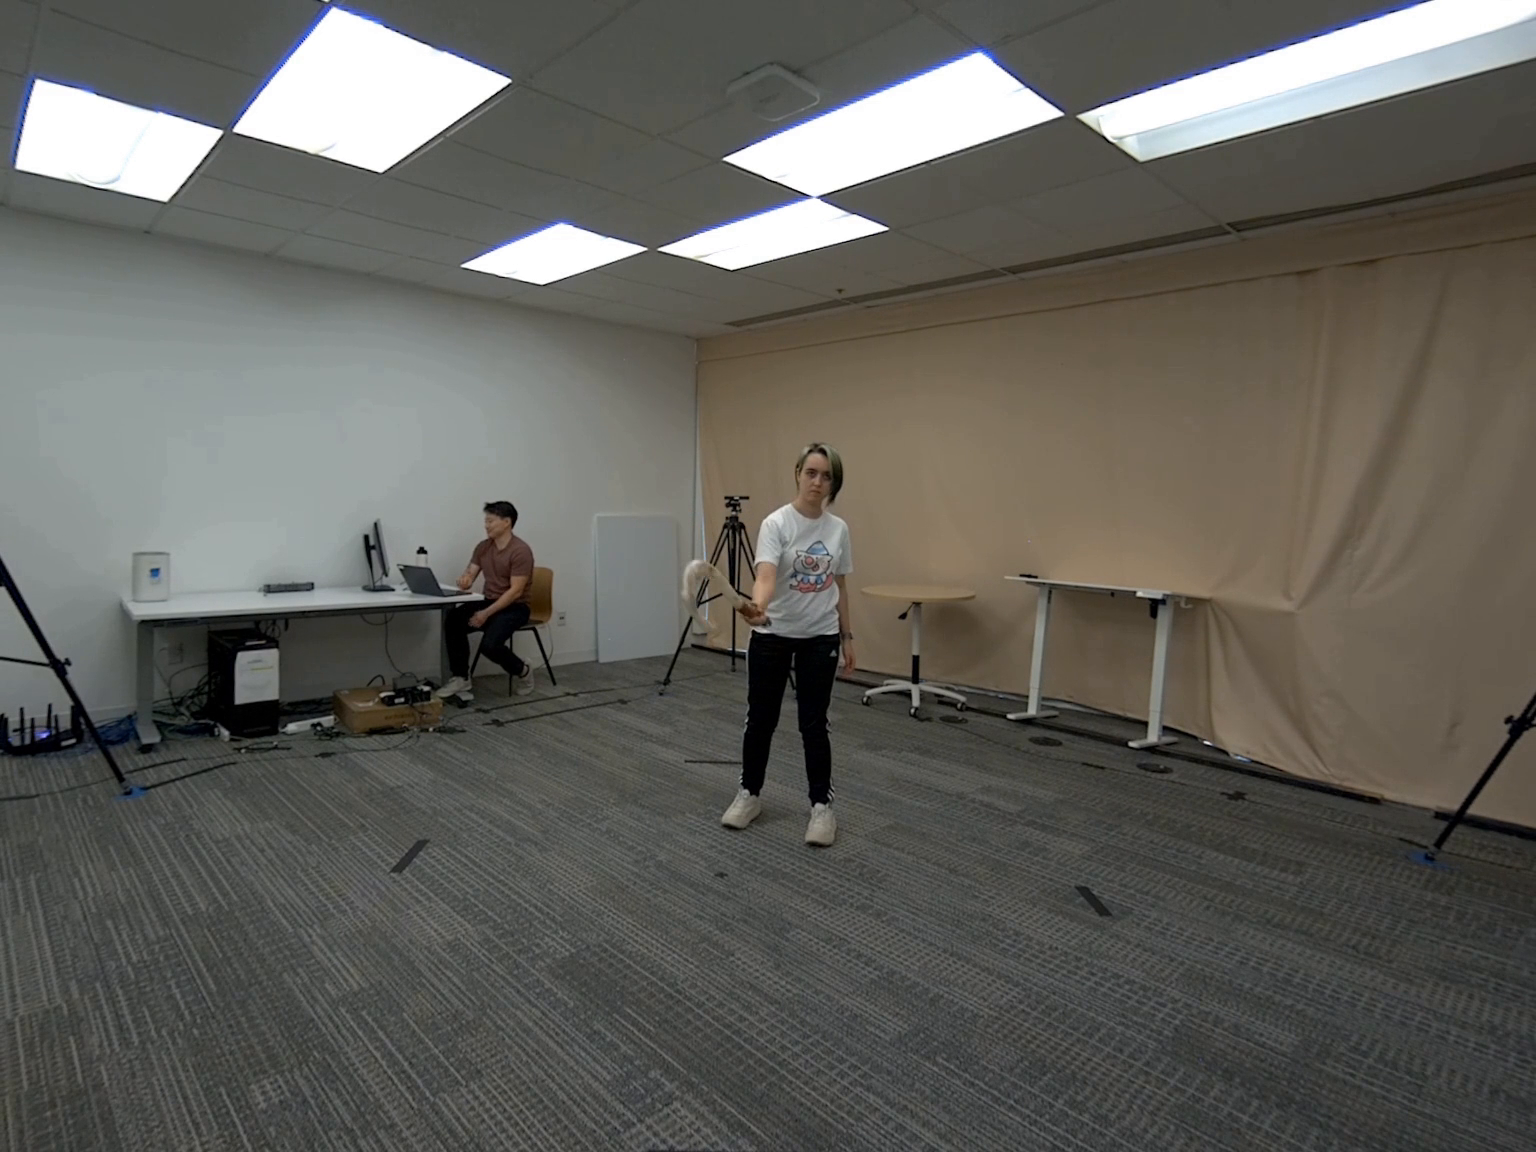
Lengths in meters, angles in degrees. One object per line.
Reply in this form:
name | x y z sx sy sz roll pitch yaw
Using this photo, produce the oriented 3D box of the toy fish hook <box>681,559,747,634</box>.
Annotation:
toy fish hook | -0.138 0.114 2.882 0.049 0.227 0.490 -6 -28 35
